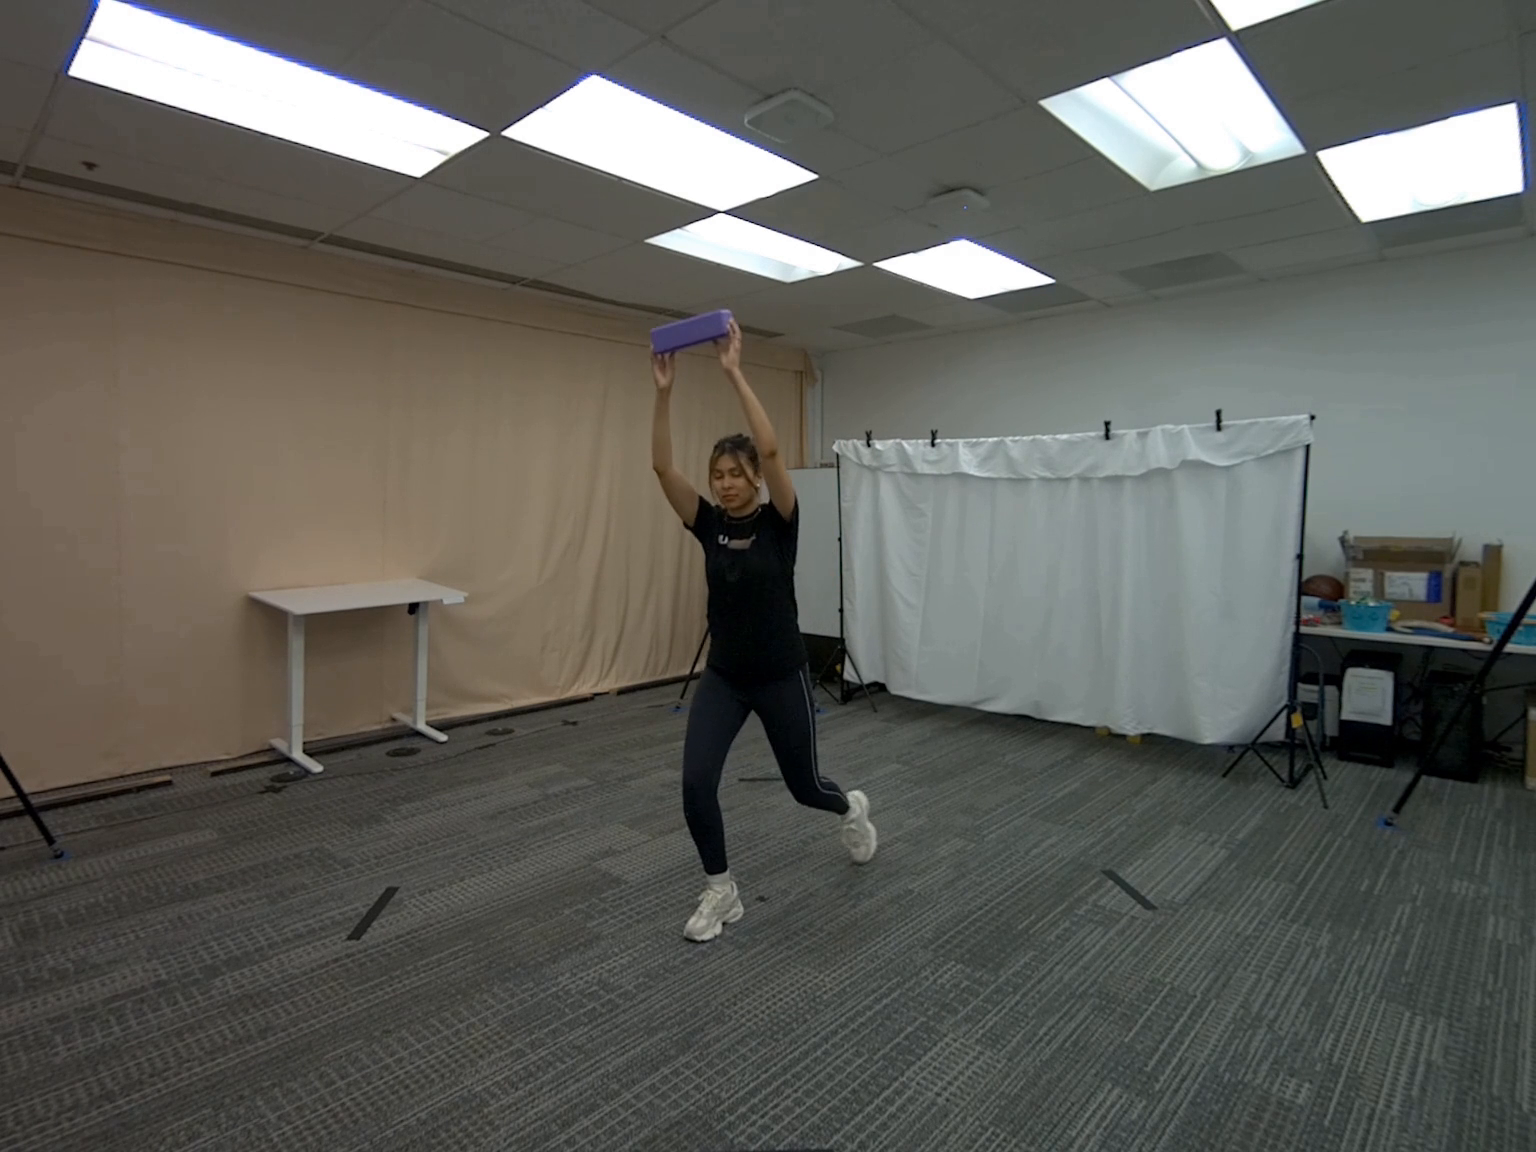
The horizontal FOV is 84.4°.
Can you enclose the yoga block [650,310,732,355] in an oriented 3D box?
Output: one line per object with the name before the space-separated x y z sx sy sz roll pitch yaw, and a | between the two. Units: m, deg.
yoga block | -0.209 -0.727 2.525 0.232 0.075 0.149 -11 15 13
